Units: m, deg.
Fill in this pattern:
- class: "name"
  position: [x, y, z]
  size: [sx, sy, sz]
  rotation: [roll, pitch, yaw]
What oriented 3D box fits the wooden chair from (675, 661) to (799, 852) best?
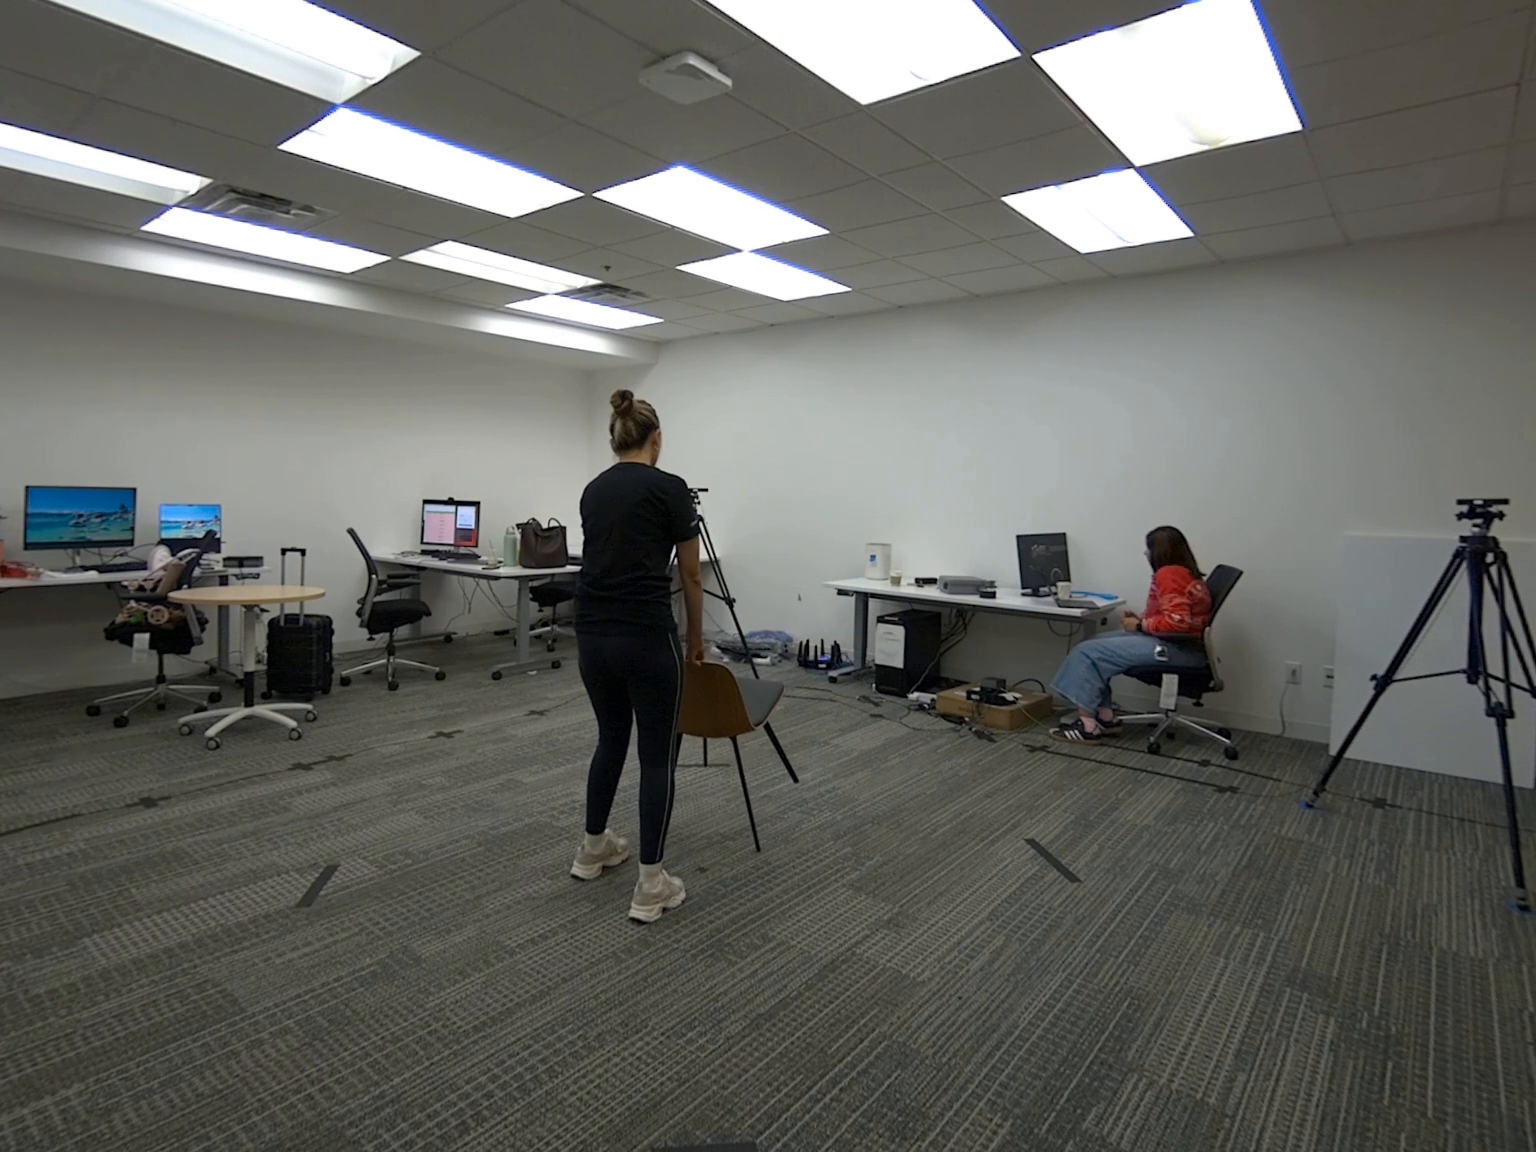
- class: "wooden chair"
  position: [-0.212, 0.563, 3.411]
  size: [0.490, 0.856, 0.523]
  rotation: [3, 26, 24]
